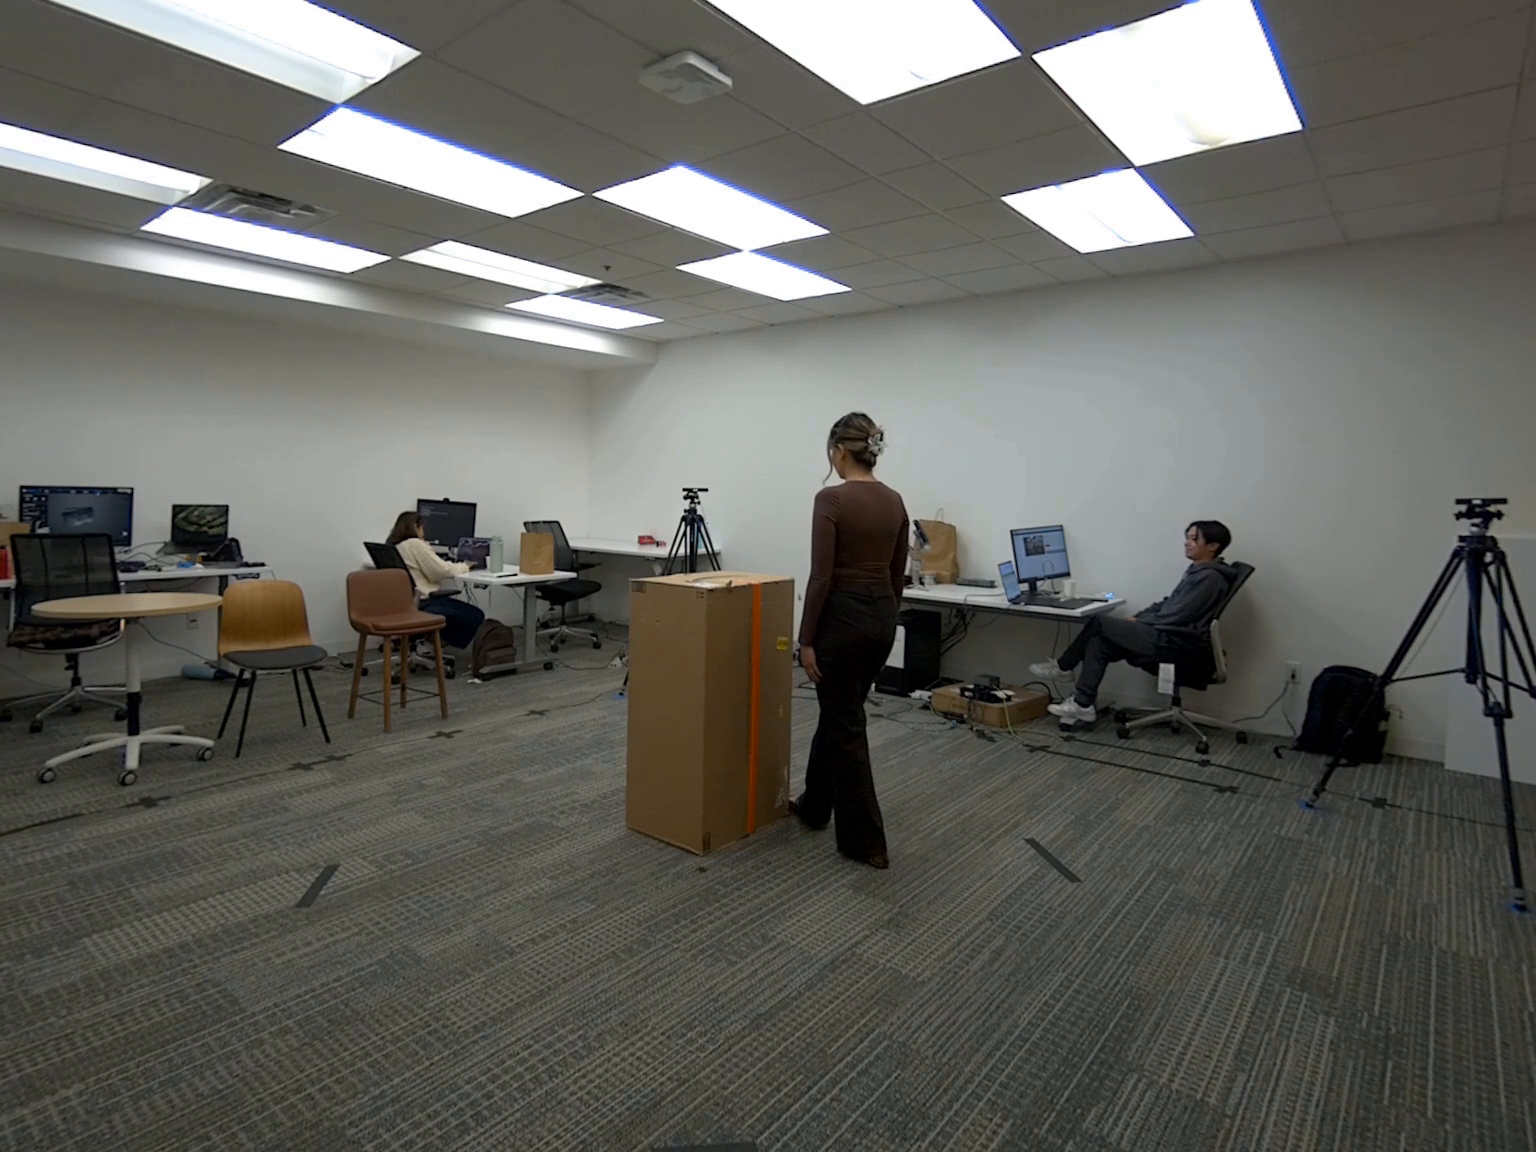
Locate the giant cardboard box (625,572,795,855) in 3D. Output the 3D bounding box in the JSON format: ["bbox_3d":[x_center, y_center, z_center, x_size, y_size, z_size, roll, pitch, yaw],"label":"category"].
[{"bbox_3d":[-0.244,0.514,3.545,0.462,1.024,0.566,4,5,40],"label":"giant cardboard box"}]
